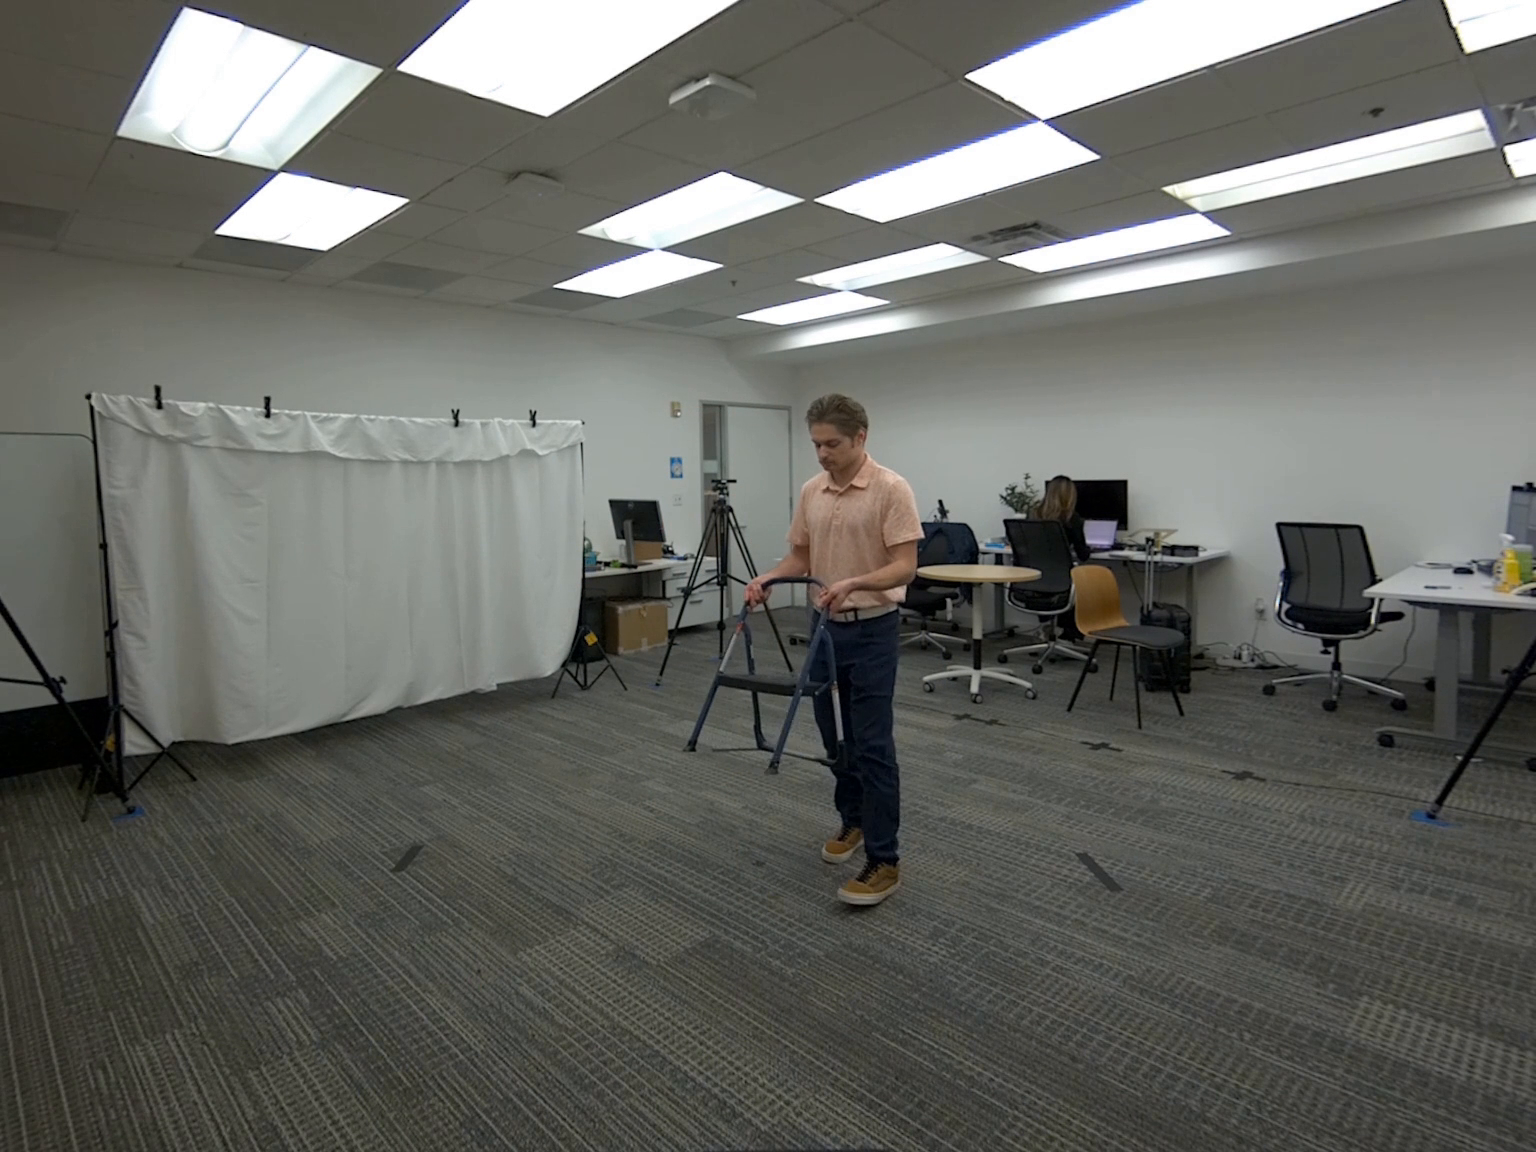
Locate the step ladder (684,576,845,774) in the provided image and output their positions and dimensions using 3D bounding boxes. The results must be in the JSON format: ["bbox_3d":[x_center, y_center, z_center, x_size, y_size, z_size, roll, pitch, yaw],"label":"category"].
[{"bbox_3d":[0.017,0.295,2.795,0.338,0.609,0.443,10,-7,-41],"label":"step ladder"}]
